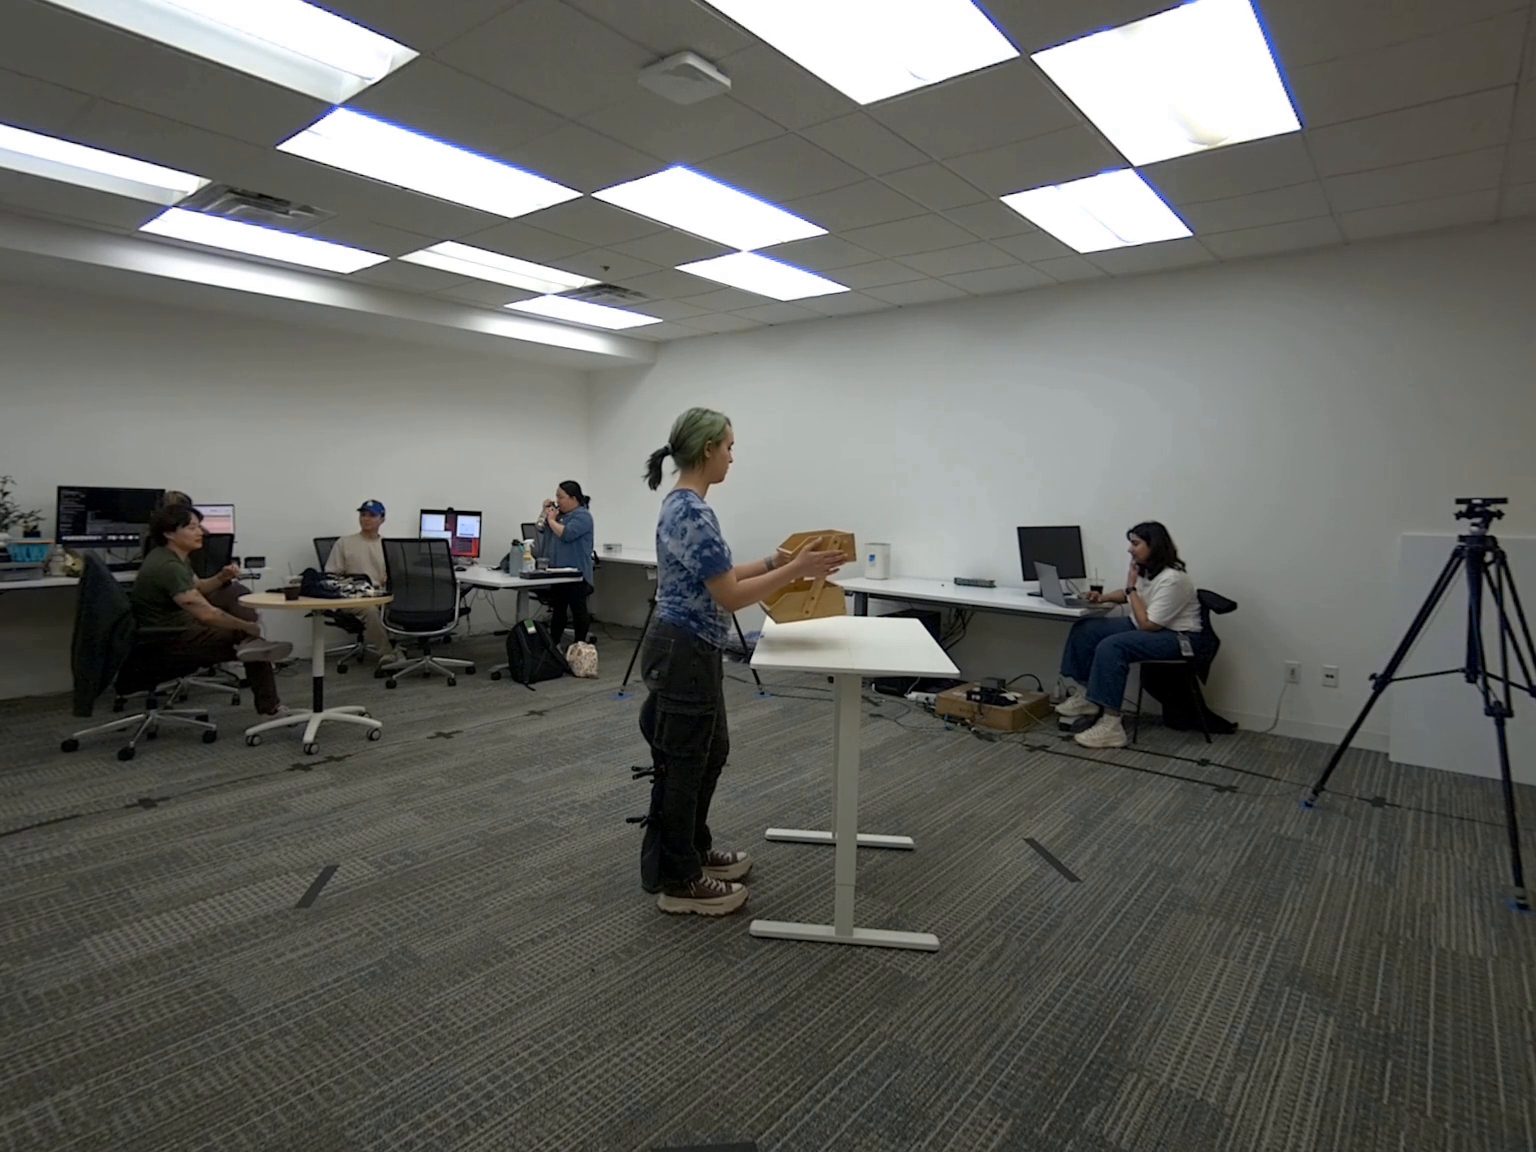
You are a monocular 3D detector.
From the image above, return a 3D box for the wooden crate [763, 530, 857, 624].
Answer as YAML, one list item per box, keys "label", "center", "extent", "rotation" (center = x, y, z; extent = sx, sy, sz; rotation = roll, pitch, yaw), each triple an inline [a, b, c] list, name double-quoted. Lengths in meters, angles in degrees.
- label: "wooden crate"
  center: [0.111, -0.006, 2.849]
  extent: [0.300, 0.272, 0.328]
  rotation: [-9, 5, -7]
